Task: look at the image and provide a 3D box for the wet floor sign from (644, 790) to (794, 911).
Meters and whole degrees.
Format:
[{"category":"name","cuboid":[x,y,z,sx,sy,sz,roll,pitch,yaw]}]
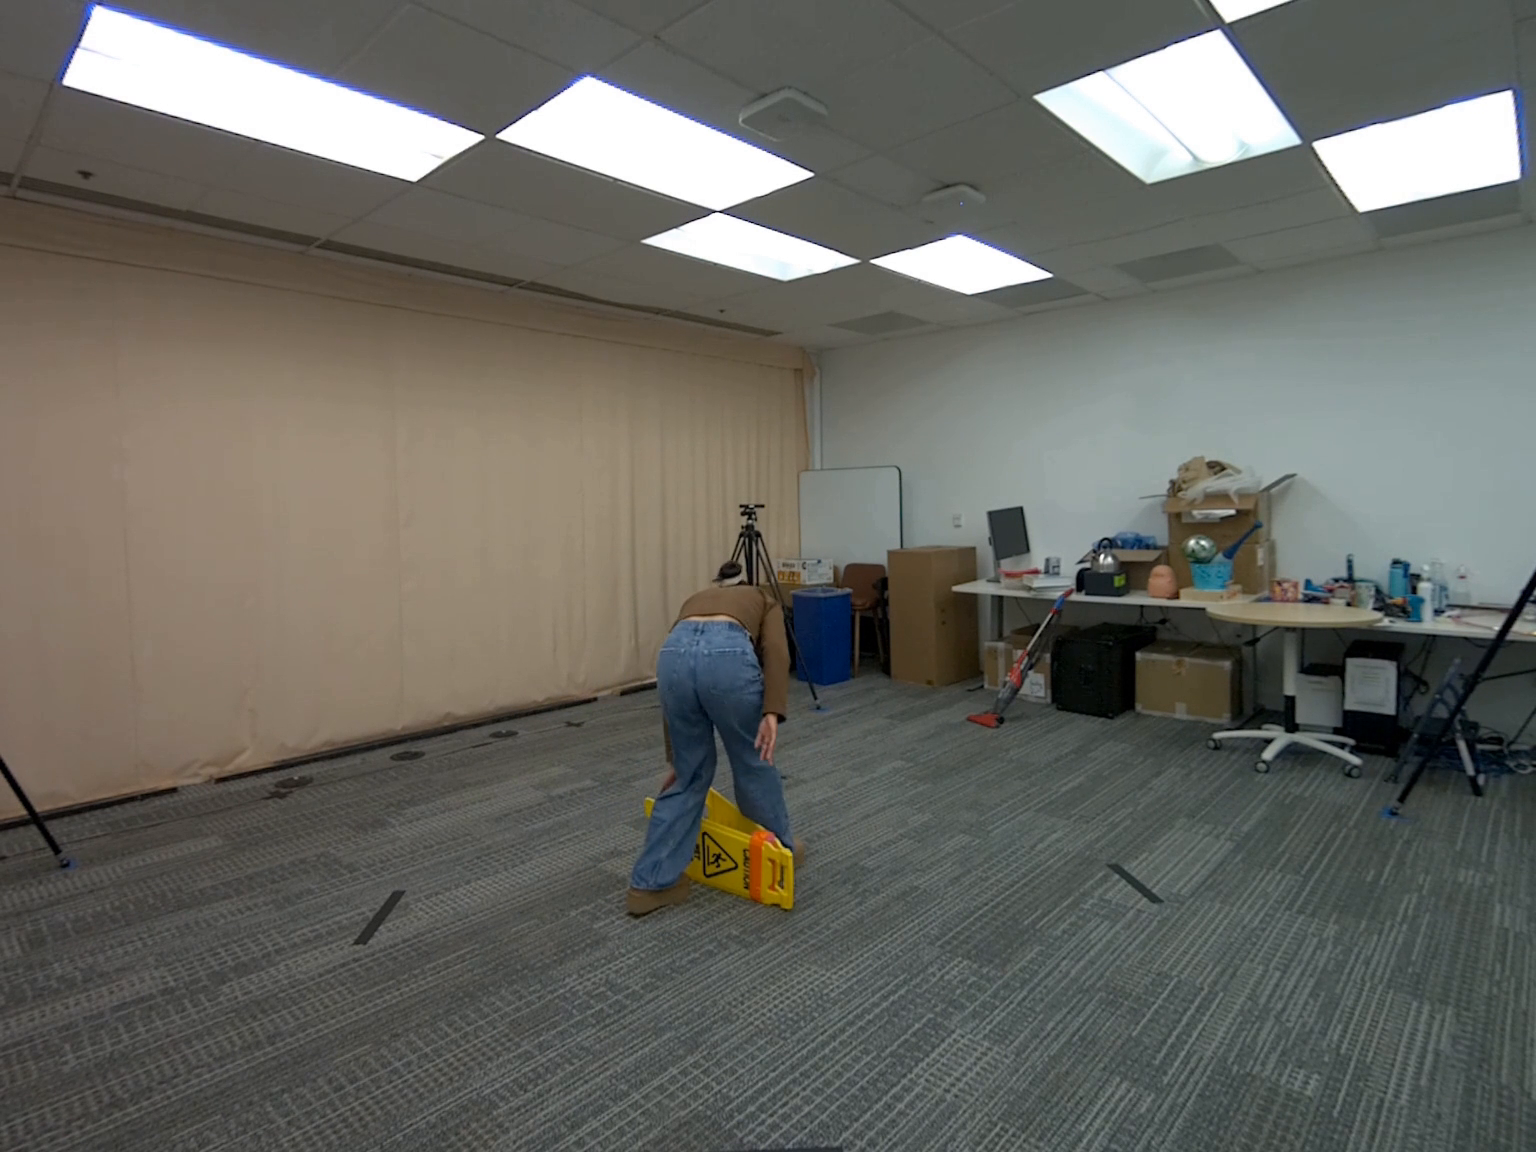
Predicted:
[{"category":"wet floor sign","cuboid":[-0.143,1.006,3.103,0.281,0.281,0.668,-6,9,-42]}]
